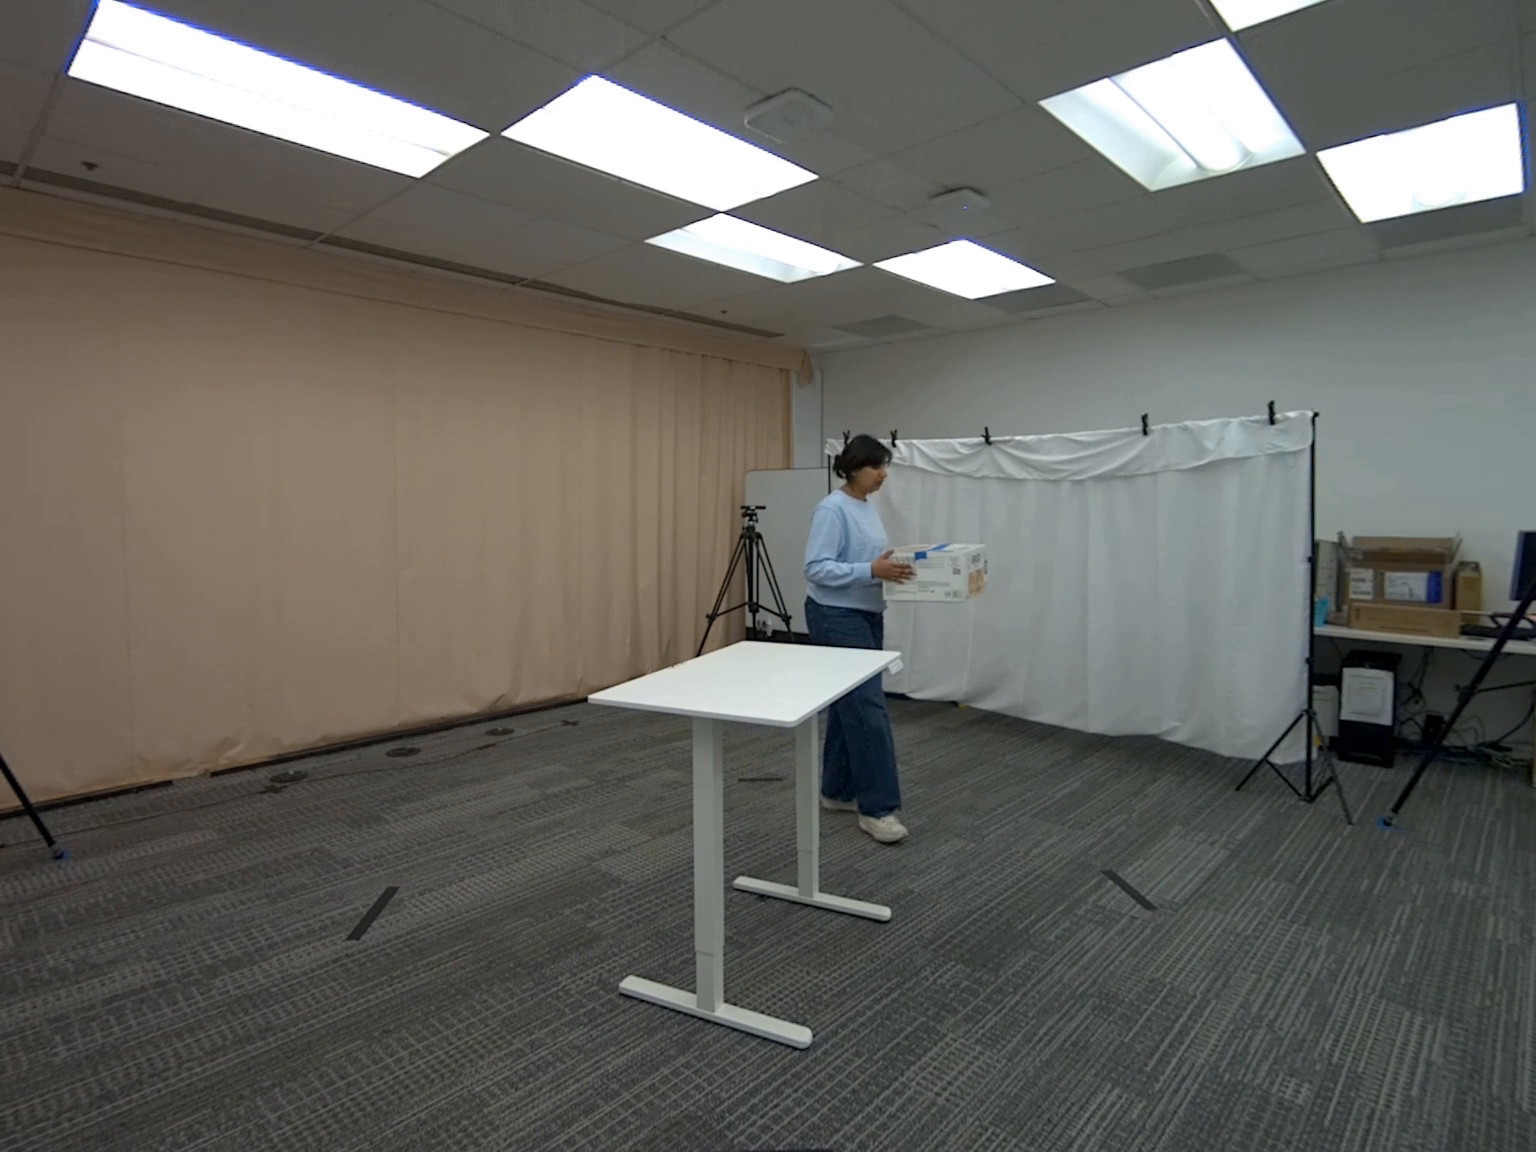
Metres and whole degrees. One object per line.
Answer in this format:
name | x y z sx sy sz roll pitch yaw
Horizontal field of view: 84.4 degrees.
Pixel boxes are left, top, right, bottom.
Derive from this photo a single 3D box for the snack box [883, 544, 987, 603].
snack box | 0.721 -0.016 3.566 0.350 0.205 0.395 0 5 29
